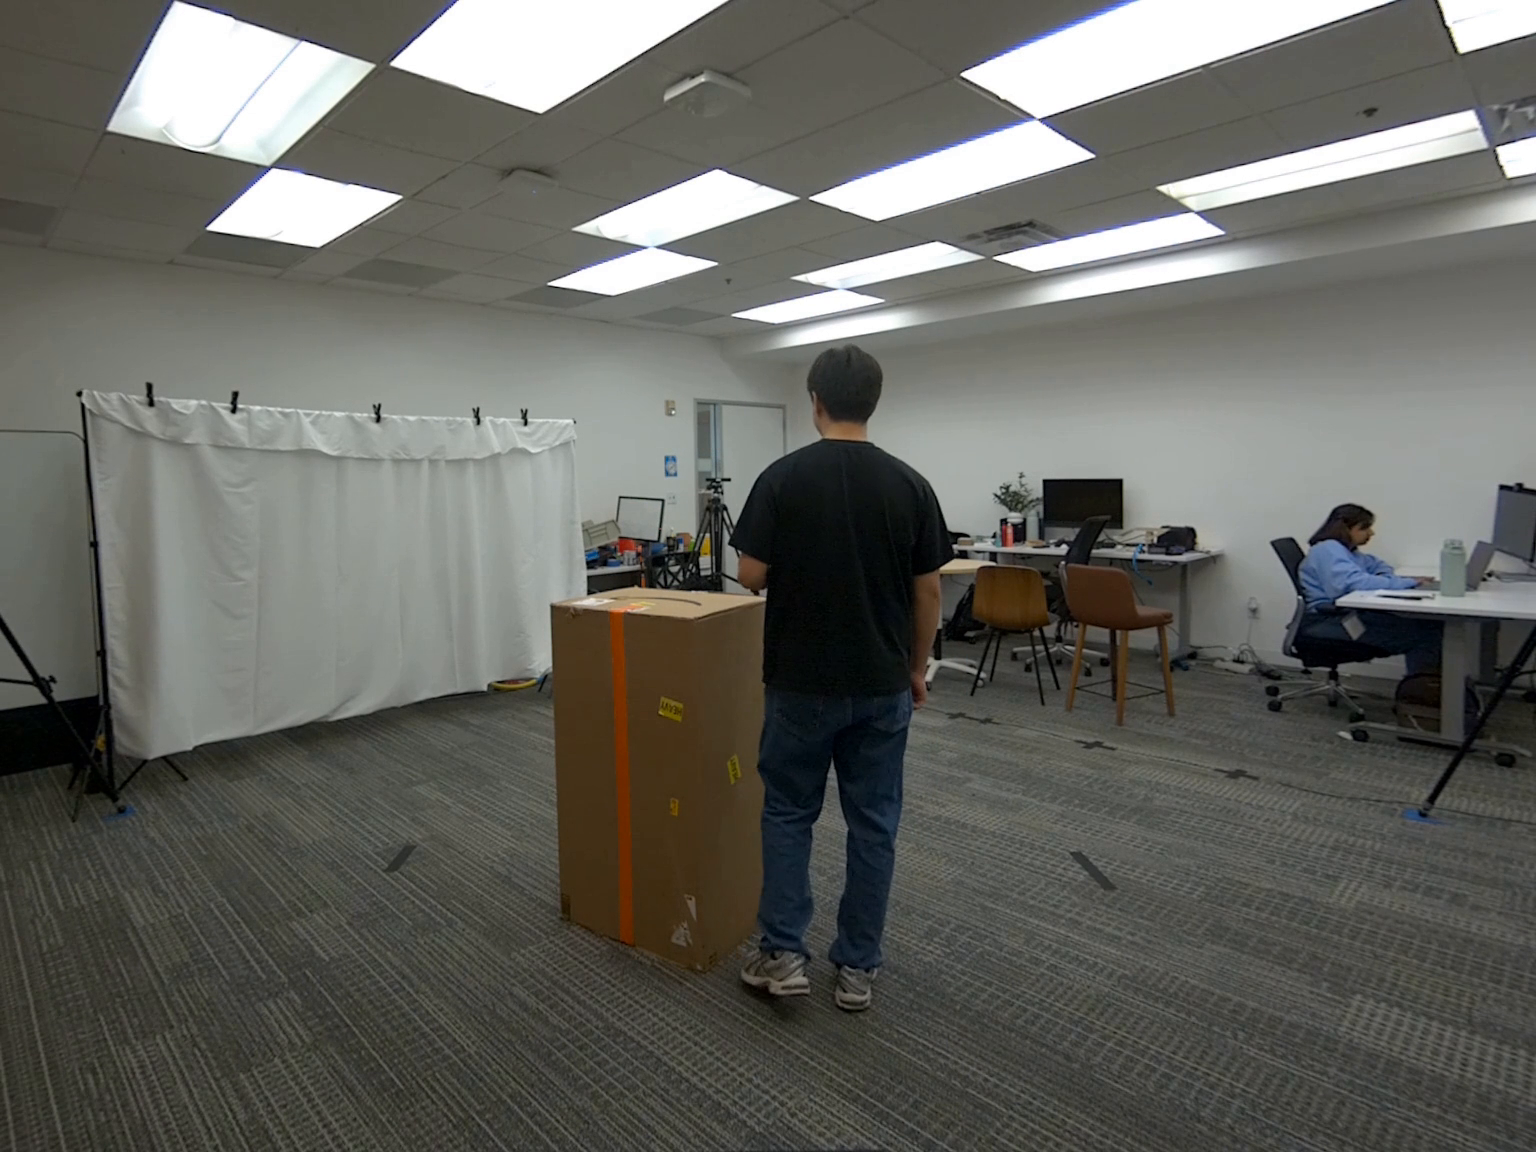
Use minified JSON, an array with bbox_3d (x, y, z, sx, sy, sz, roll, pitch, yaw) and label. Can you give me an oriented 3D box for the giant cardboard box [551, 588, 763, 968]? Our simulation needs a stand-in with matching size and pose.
[{"bbox_3d":[-0.324,0.581,2.714,0.601,1.022,0.436,2,6,35],"label":"giant cardboard box"}]
